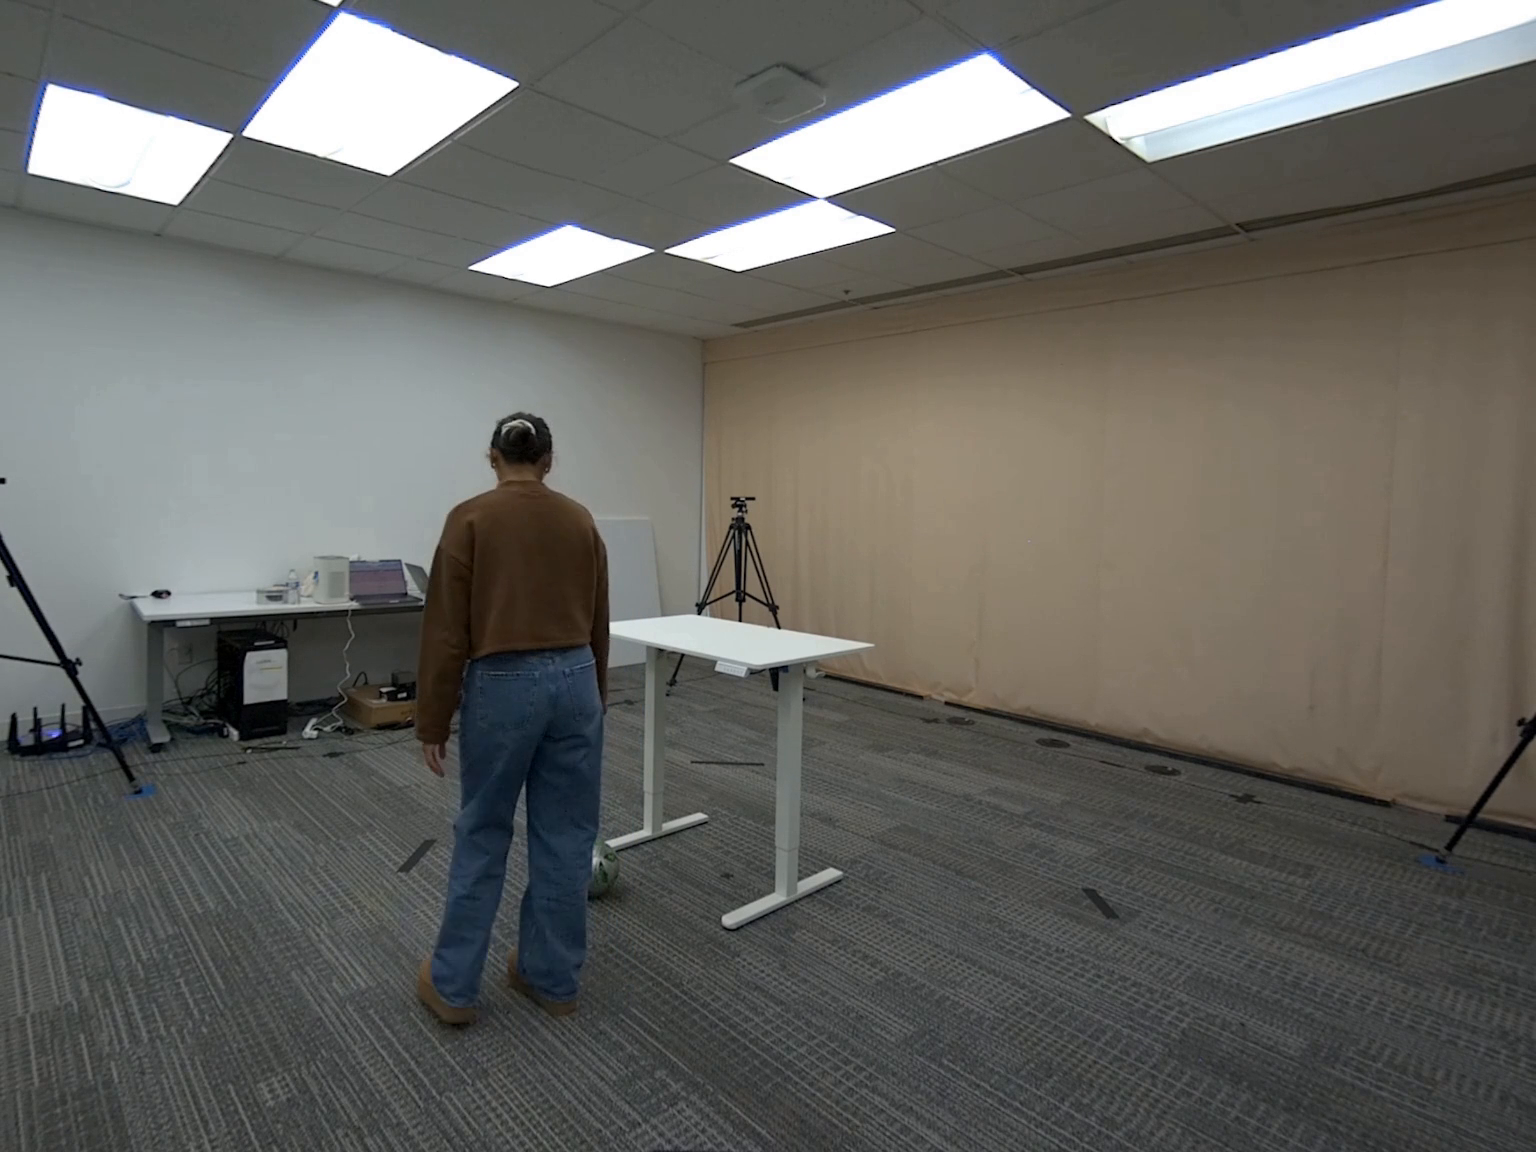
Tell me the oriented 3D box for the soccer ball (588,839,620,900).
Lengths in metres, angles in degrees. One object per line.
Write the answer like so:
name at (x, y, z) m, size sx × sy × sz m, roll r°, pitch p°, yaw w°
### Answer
soccer ball at (-0.618, 1.025, 2.928) m, size 0.187 × 0.187 × 0.188 m, roll 1°, pitch 4°, yaw -1°
